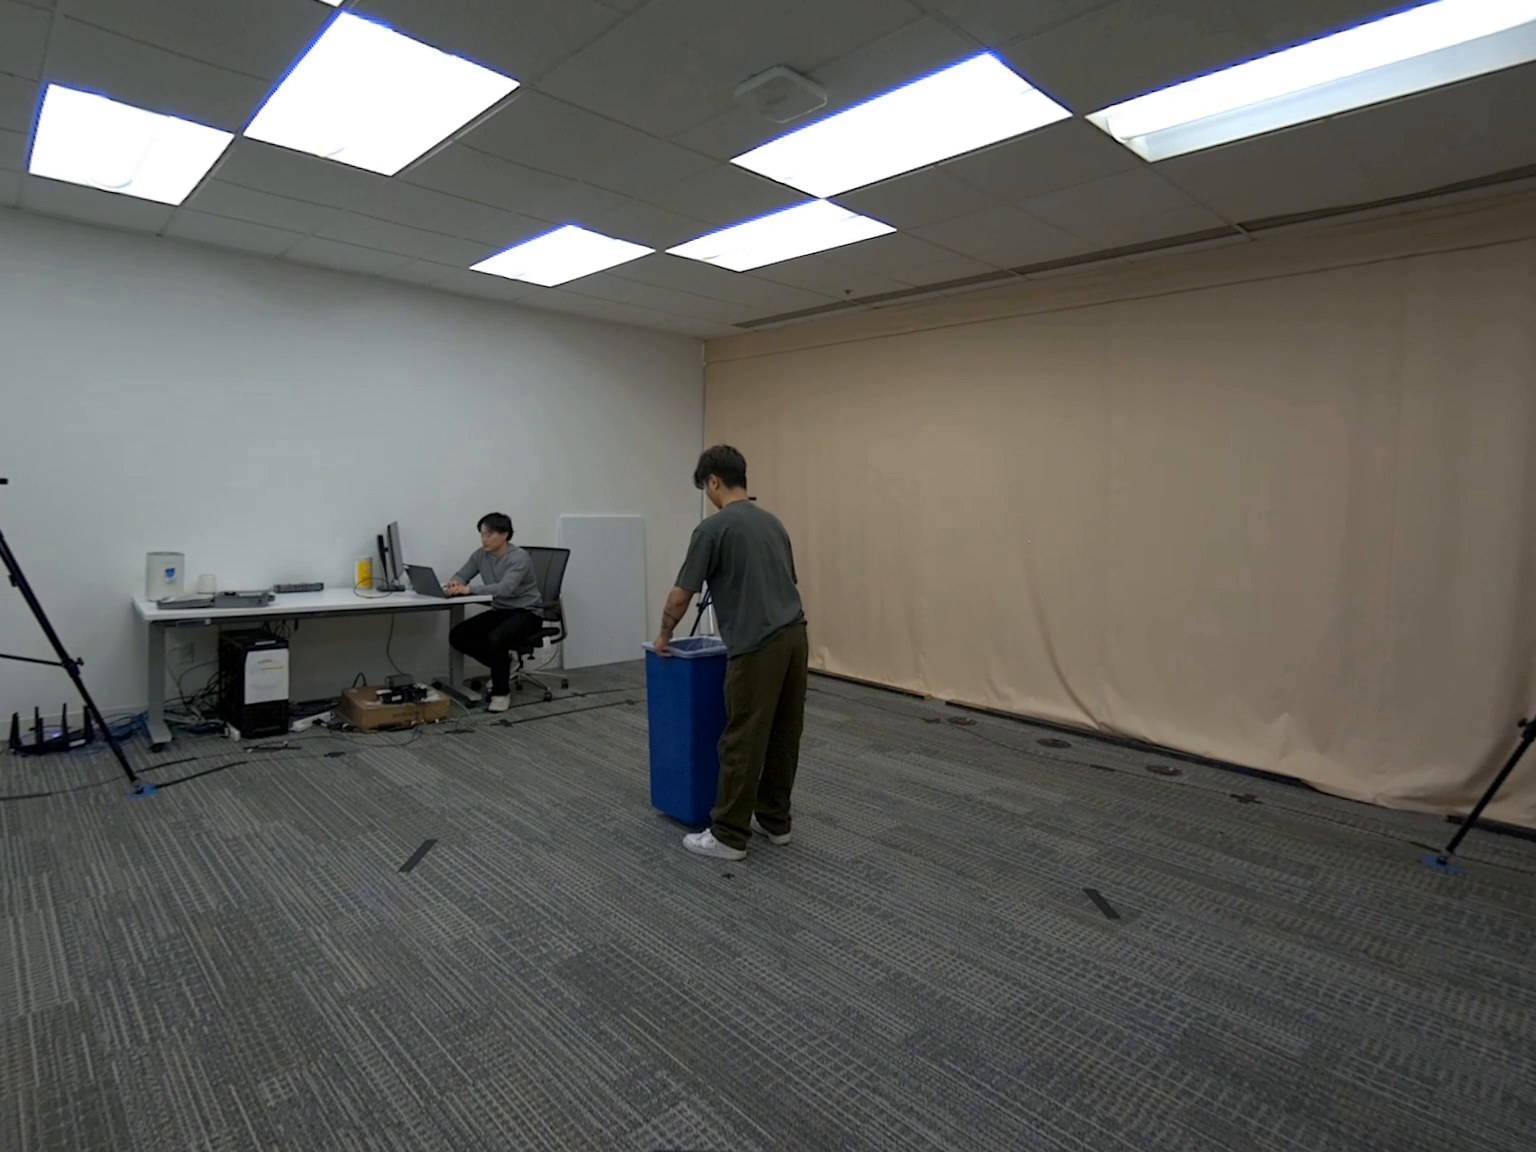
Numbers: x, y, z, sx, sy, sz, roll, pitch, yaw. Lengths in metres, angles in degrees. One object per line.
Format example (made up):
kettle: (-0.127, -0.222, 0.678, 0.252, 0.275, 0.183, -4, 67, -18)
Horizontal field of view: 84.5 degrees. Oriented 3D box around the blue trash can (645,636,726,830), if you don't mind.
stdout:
blue trash can: (-0.312, 0.646, 3.635, 0.365, 0.713, 0.387, -1, 2, -41)
